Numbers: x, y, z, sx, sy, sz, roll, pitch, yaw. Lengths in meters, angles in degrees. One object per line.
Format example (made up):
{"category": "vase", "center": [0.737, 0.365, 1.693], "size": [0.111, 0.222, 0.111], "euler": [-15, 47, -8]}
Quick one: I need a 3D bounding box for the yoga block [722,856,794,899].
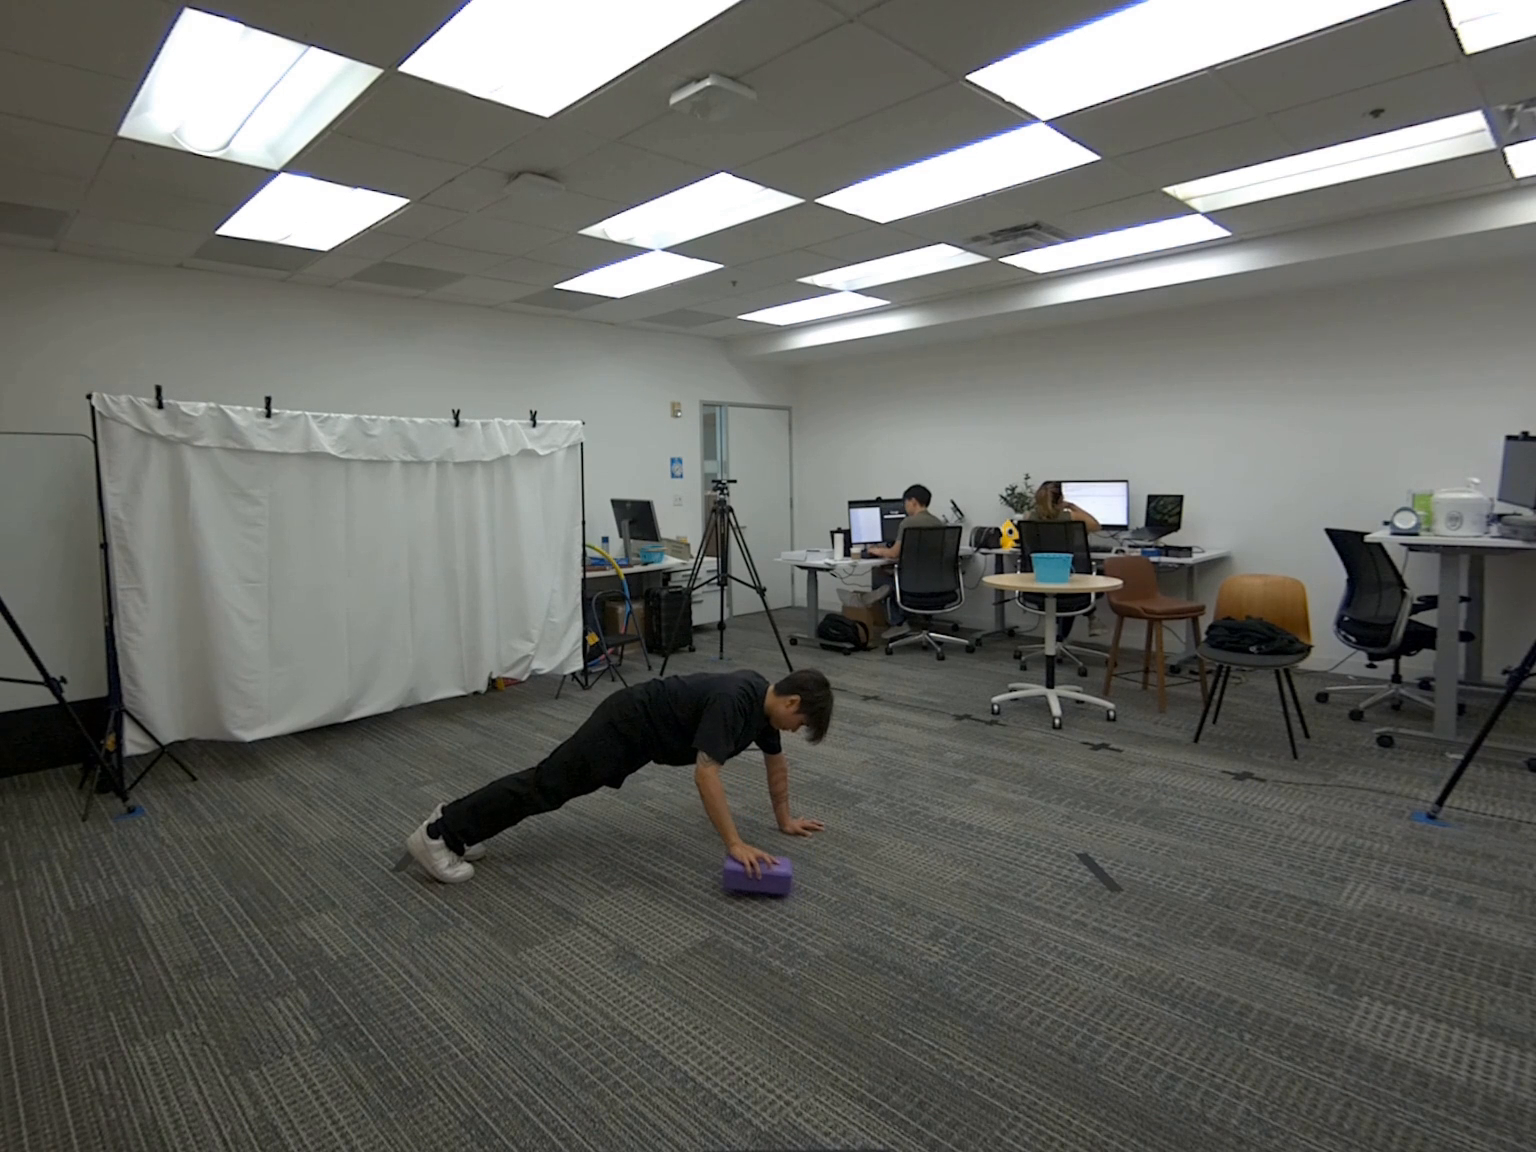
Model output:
{"category": "yoga block", "center": [-0.032, 1.008, 2.902], "size": [0.229, 0.076, 0.149], "euler": [2, 4, 0]}
